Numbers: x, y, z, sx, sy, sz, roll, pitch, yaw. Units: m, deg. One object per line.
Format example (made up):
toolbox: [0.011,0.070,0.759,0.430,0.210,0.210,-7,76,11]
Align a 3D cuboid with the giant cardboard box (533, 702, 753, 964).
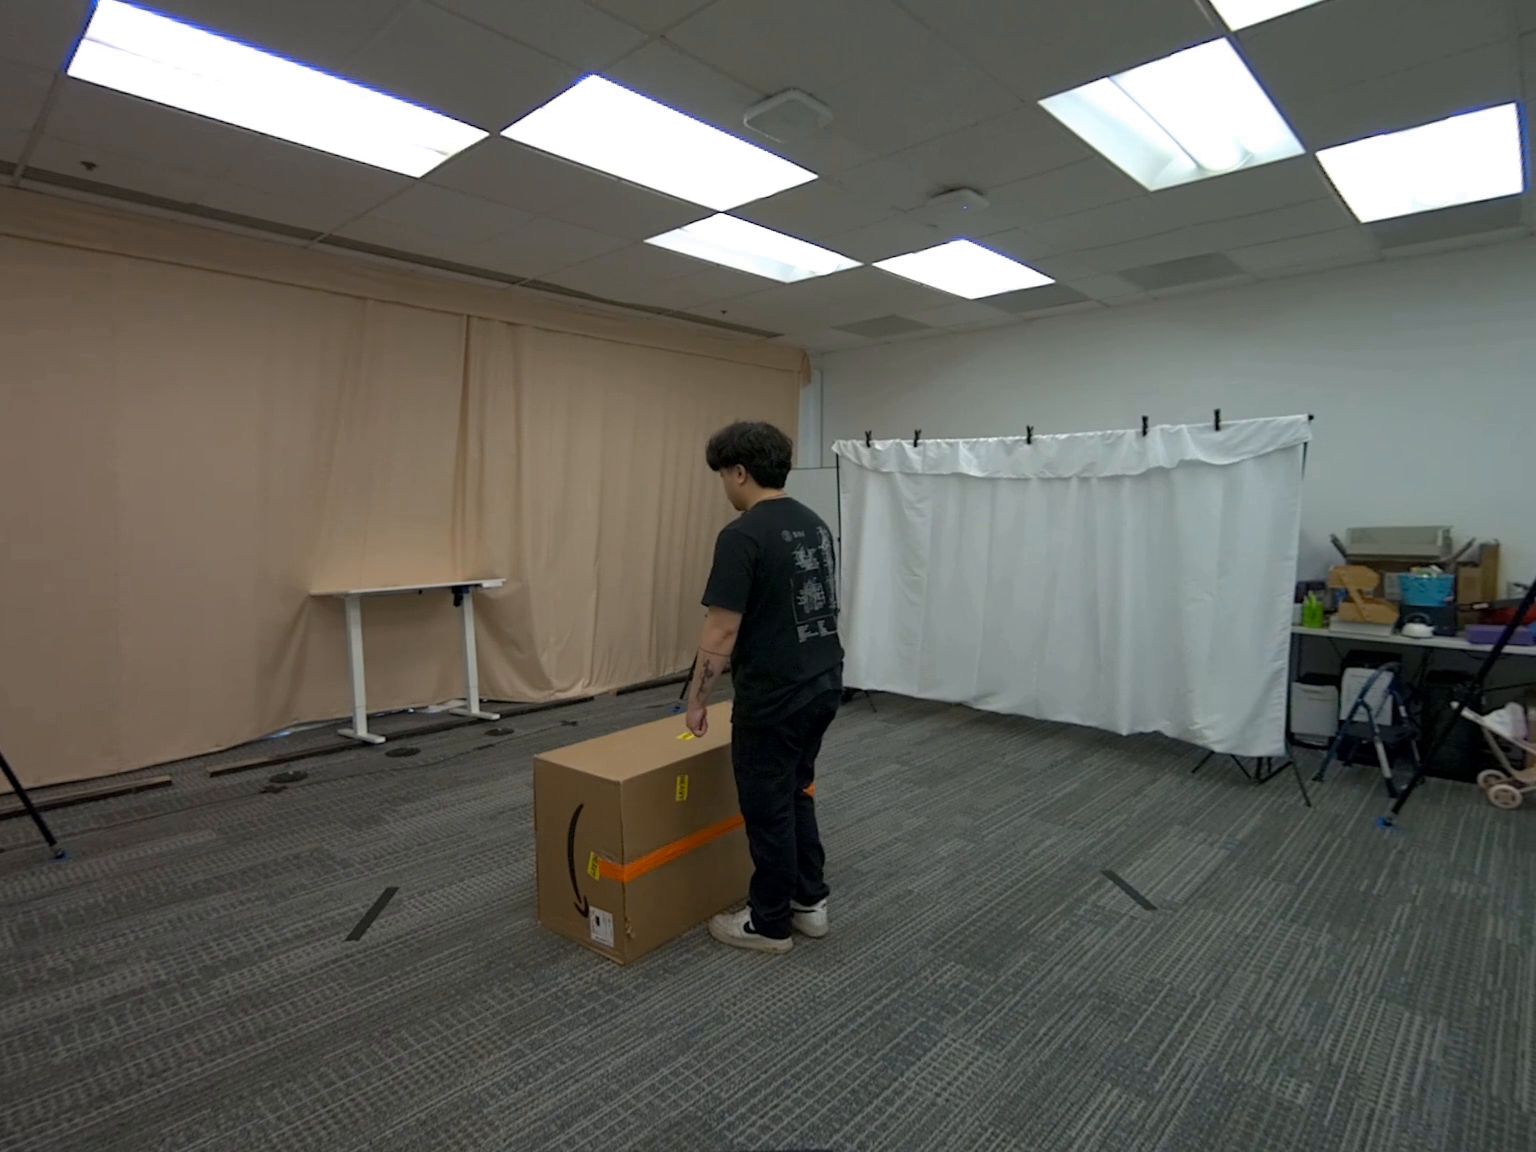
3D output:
giant cardboard box: [-0.300,0.855,3.053,0.461,0.582,0.997,4,6,39]
